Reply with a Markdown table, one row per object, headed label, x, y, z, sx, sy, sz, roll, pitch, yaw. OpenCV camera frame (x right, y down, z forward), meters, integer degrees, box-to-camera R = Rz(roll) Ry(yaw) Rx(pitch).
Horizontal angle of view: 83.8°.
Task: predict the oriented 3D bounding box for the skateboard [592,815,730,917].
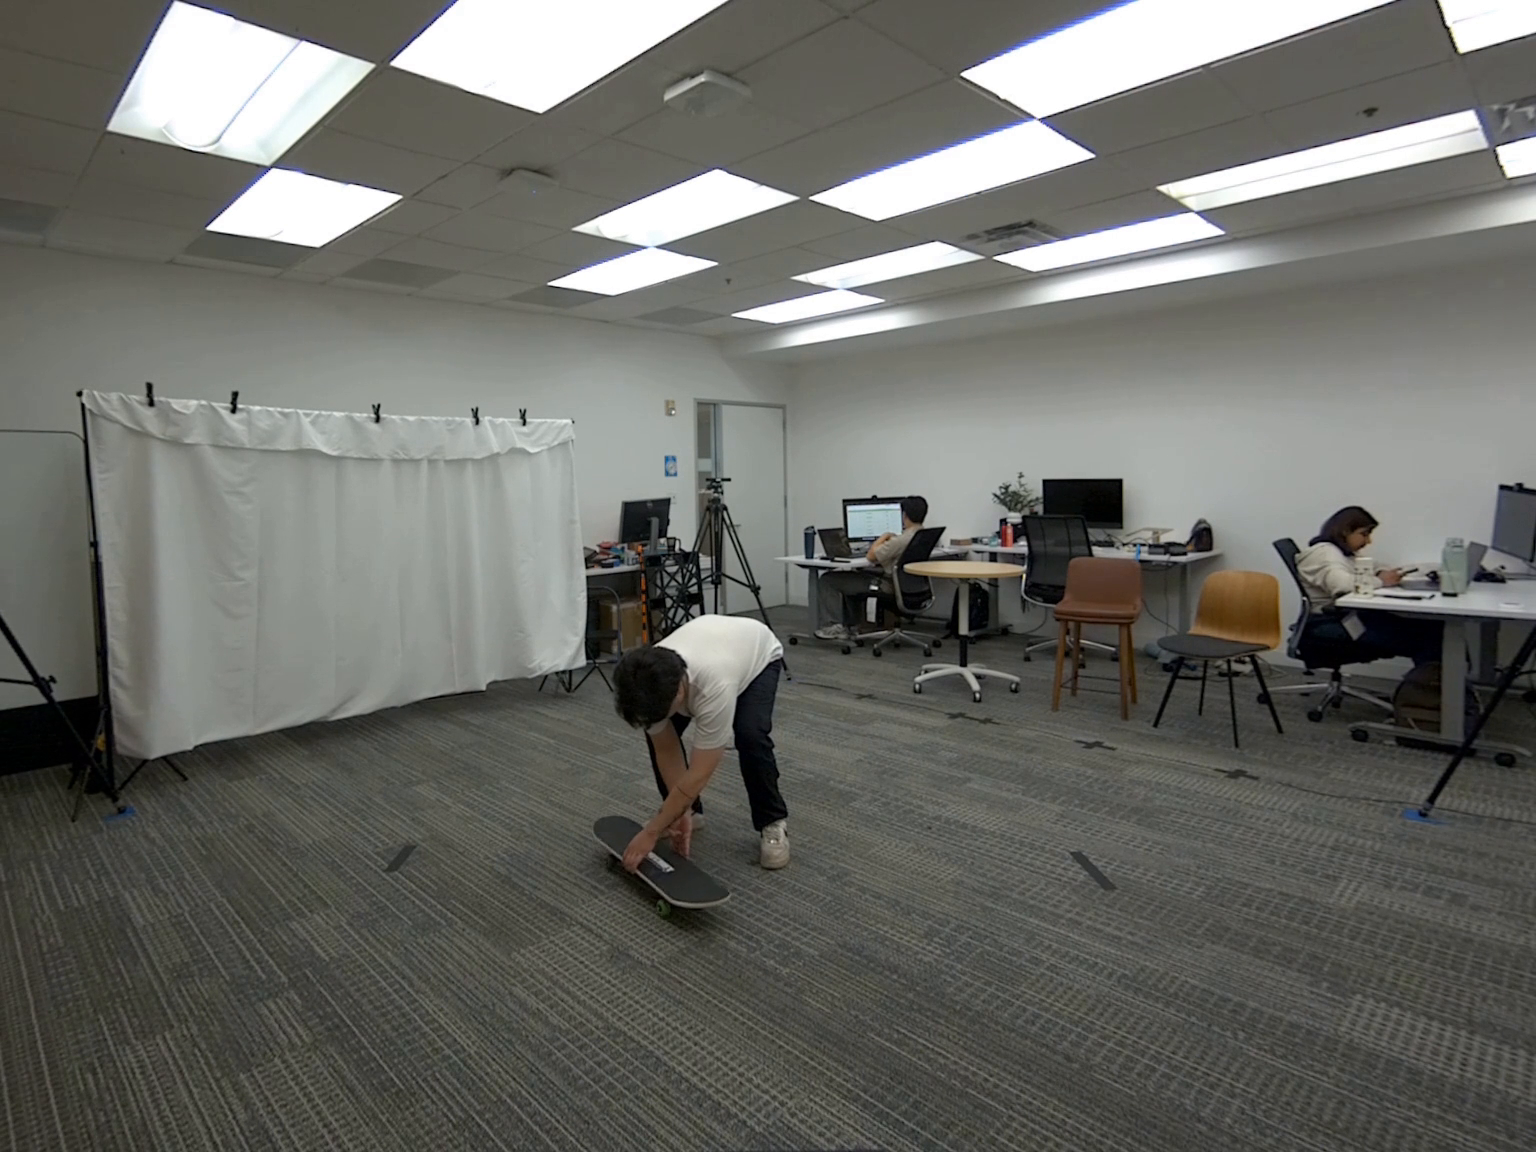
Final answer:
| label | x | y | z | sx | sy | sz | roll | pitch | yaw |
| --- | --- | --- | --- | --- | --- | --- | --- | --- | --- |
| skateboard | -0.383 | 1.007 | 2.931 | 0.188 | 0.110 | 0.809 | -1 | 5 | -34 |
